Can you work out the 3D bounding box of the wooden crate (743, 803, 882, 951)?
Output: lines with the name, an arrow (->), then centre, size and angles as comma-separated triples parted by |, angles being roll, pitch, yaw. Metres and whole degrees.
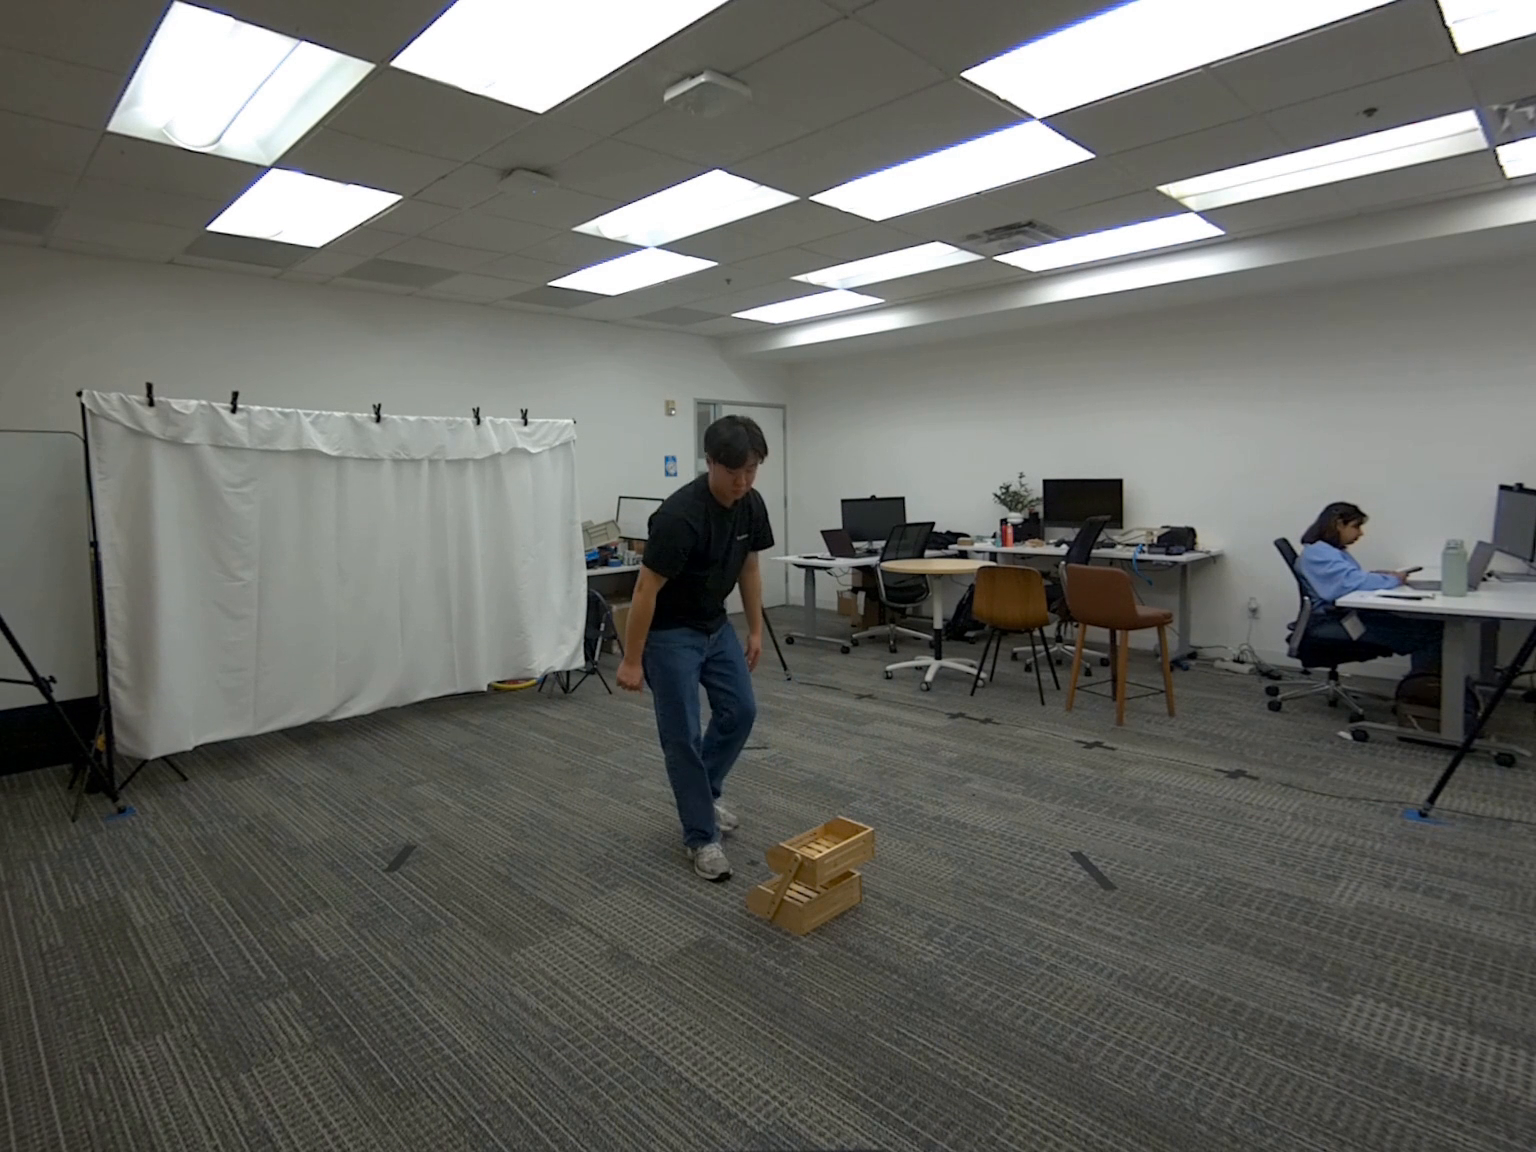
wooden crate -> 0.143, 0.953, 2.771 | 0.311, 0.272, 0.316 | 5, 9, 45
